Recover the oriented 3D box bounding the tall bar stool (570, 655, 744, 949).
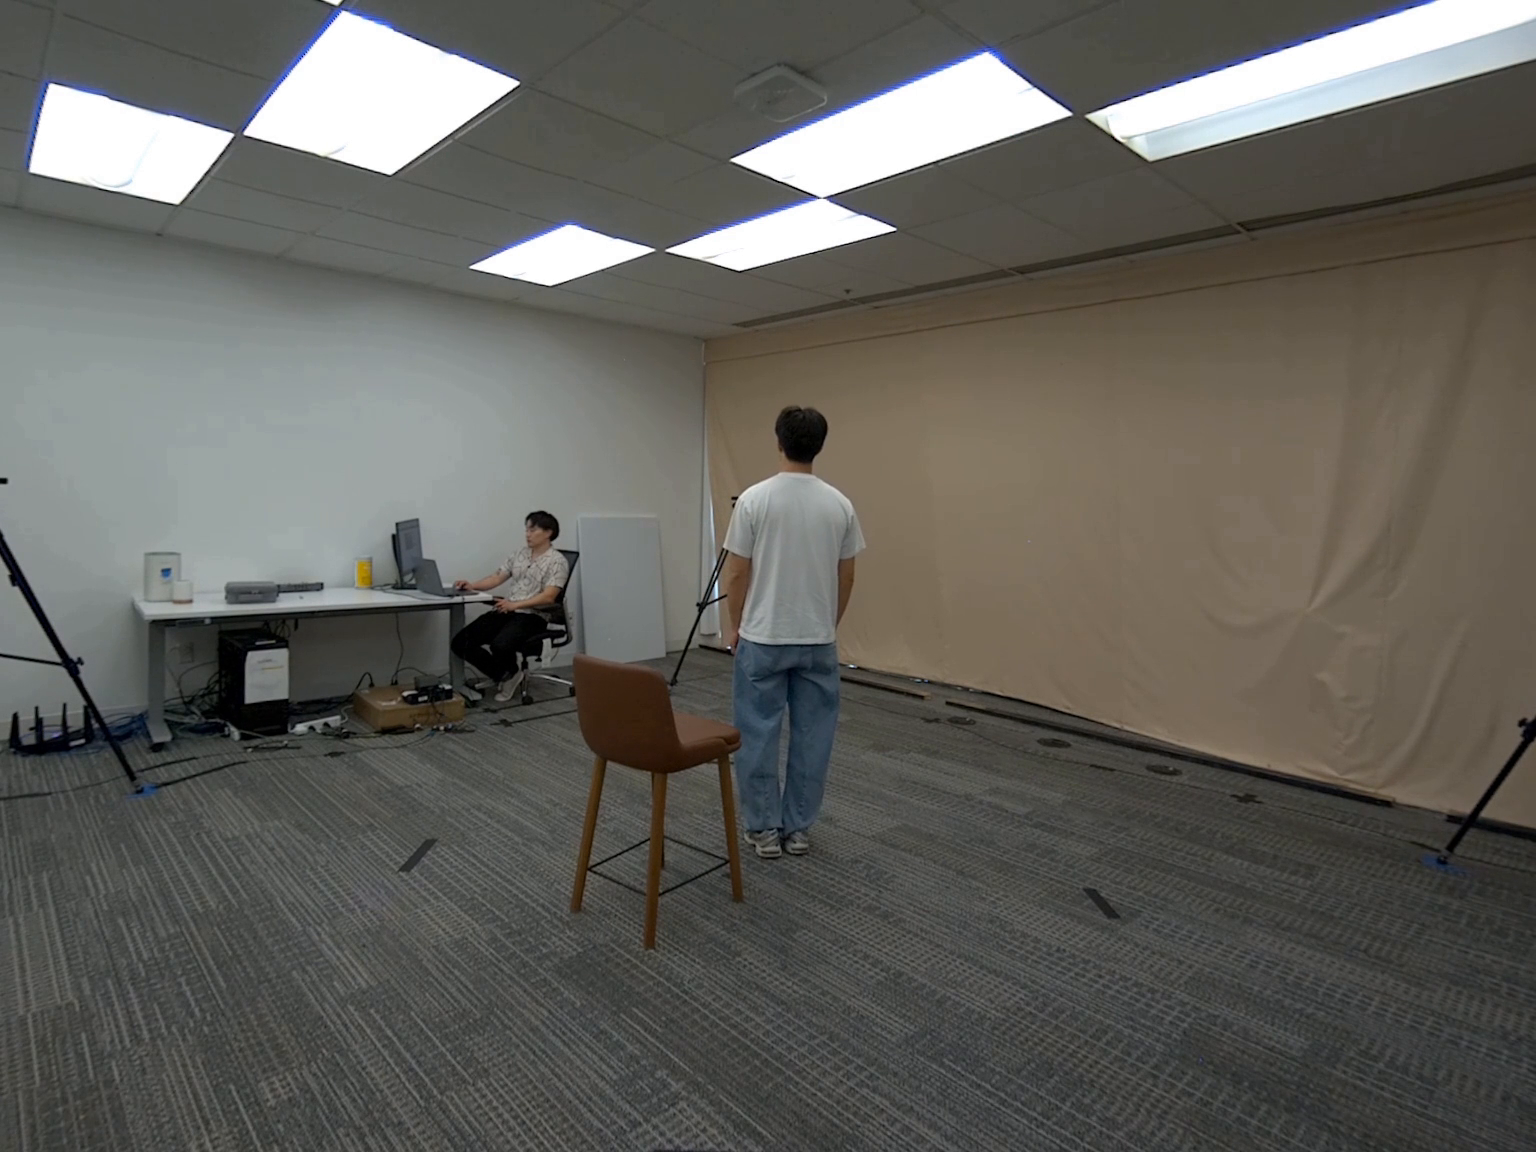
[{"bbox_3d":[-0.382,0.688,2.845,0.468,0.886,0.458,4,6,38],"label":"tall bar stool"}]
